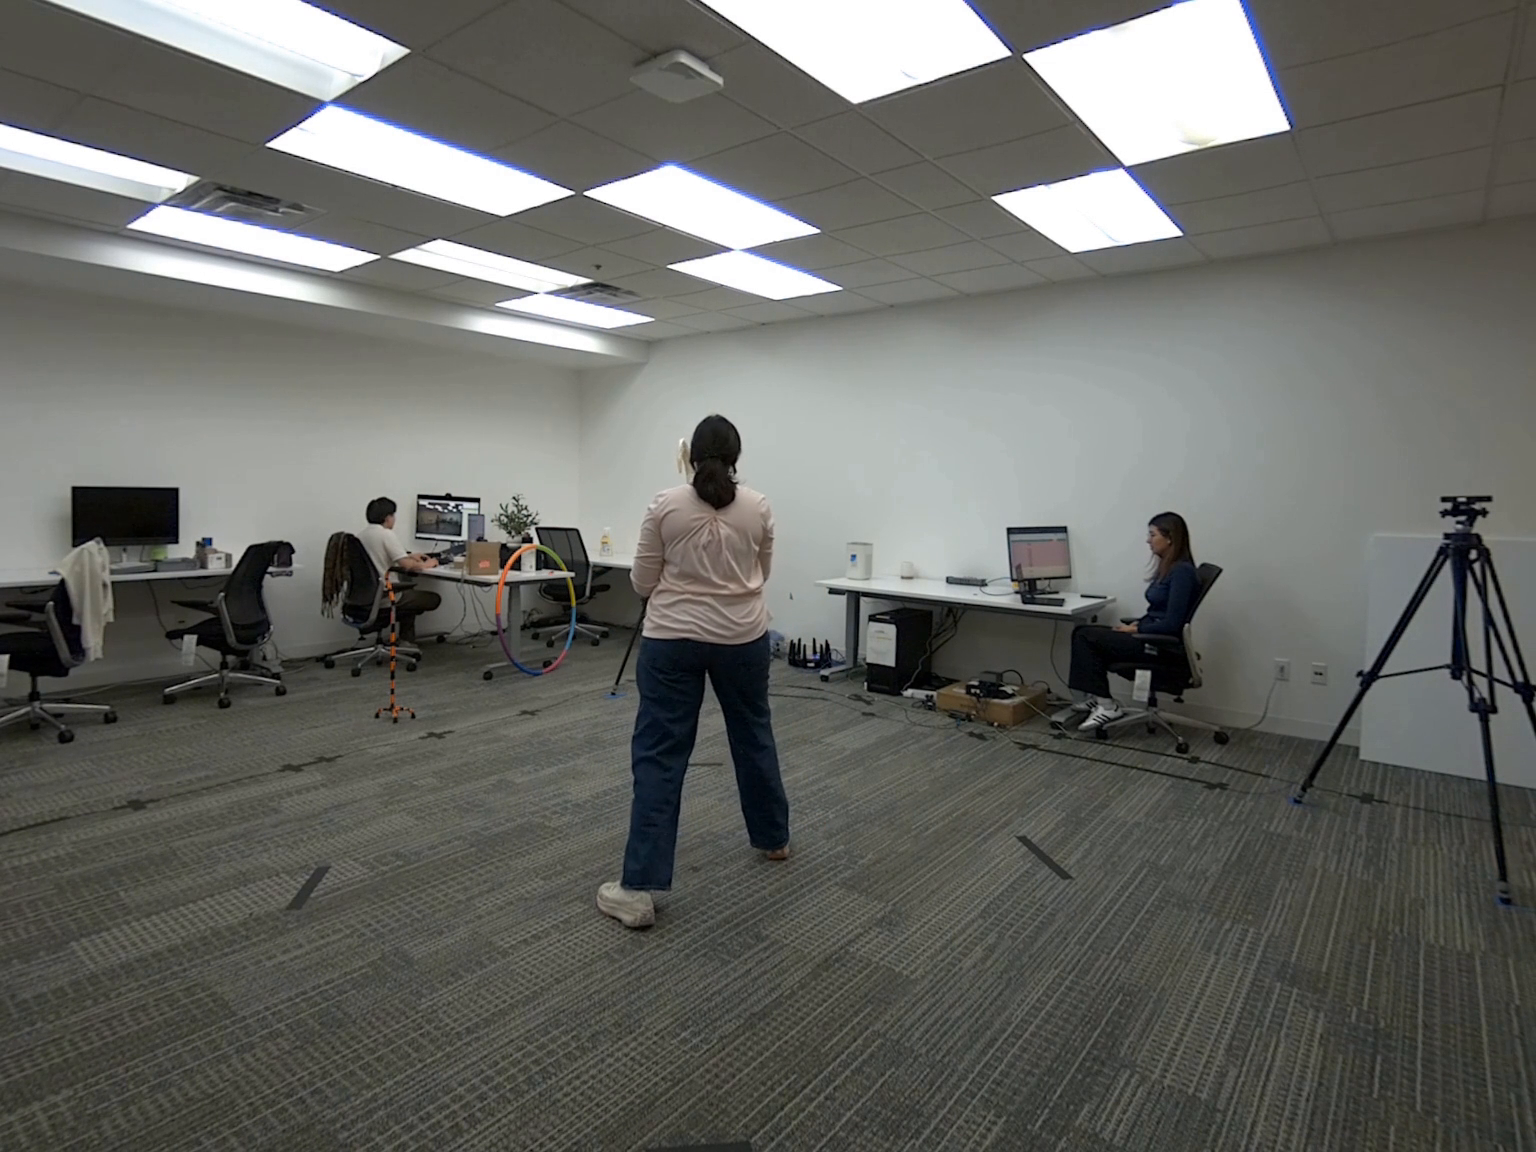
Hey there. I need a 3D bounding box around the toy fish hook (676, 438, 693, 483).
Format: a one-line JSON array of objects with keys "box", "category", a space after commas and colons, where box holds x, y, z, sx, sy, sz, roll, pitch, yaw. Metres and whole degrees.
[{"box": [-0.311, -0.307, 3.268, 0.049, 0.521, 0.216, -13, -31, 9], "category": "toy fish hook"}]
